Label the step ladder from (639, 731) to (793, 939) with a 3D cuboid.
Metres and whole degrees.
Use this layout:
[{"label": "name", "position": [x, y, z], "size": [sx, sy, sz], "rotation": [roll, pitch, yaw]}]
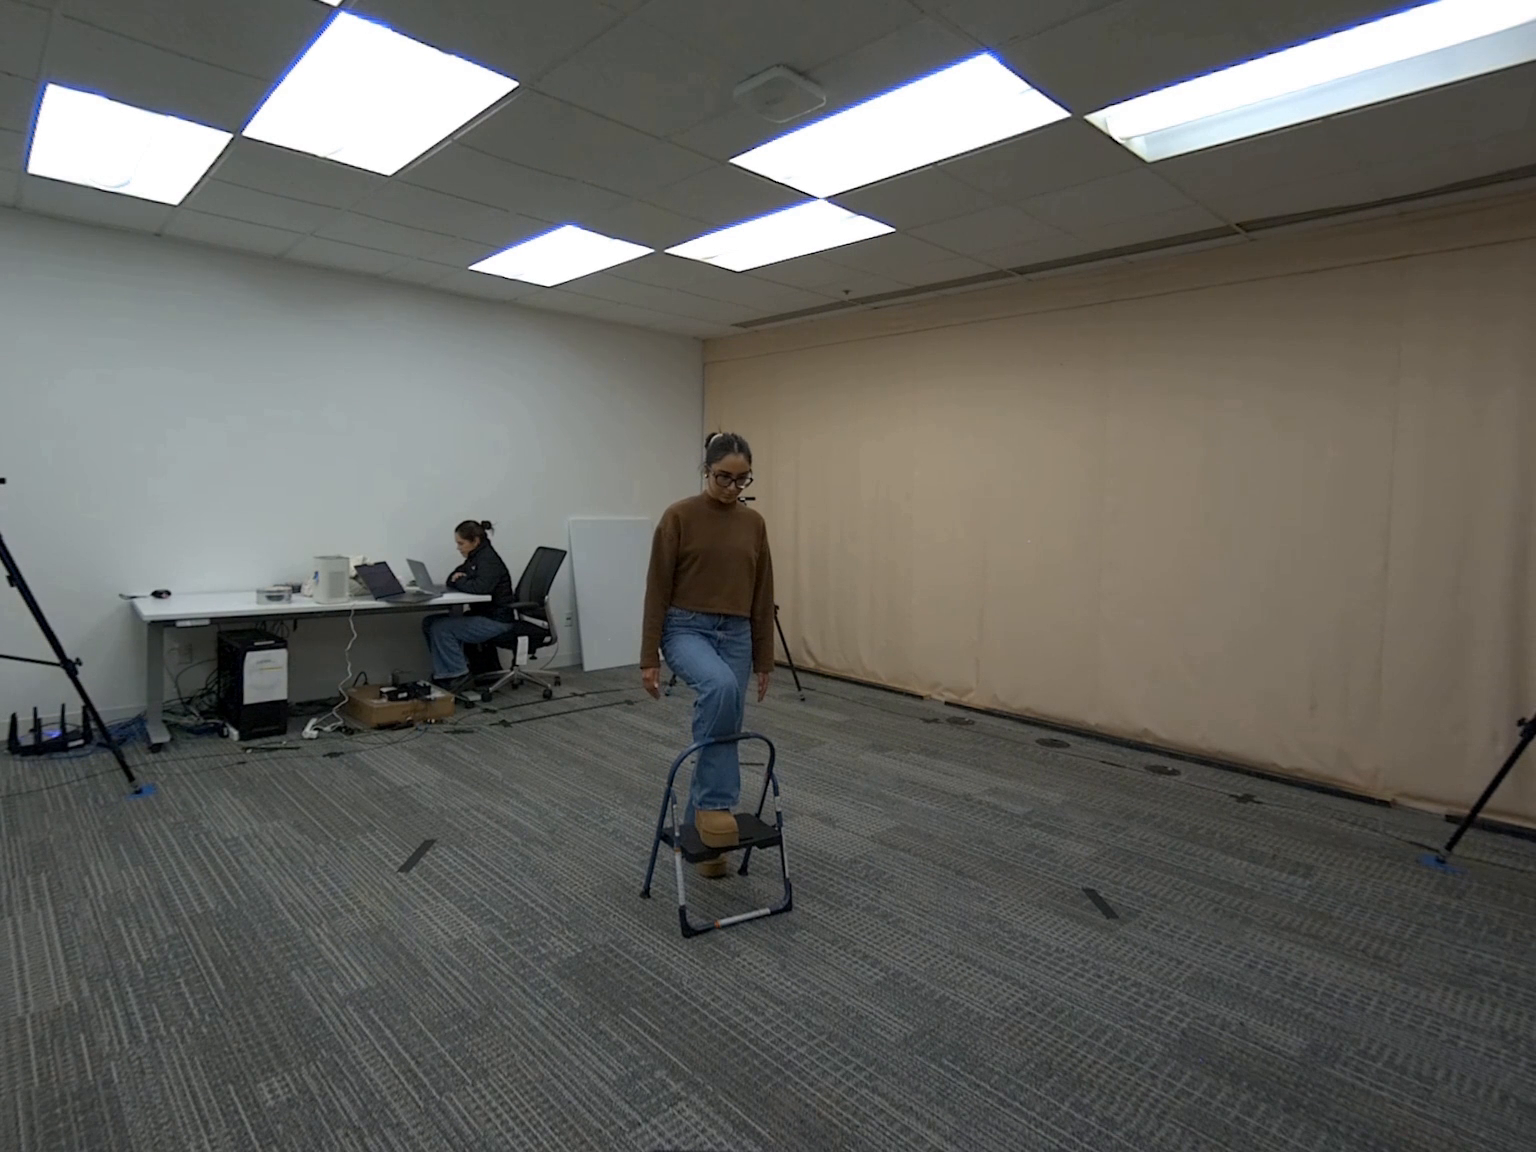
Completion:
[{"label": "step ladder", "position": [-0.176, 0.824, 2.879], "size": [0.421, 0.604, 0.357], "rotation": [-1, 4, -32]}]
